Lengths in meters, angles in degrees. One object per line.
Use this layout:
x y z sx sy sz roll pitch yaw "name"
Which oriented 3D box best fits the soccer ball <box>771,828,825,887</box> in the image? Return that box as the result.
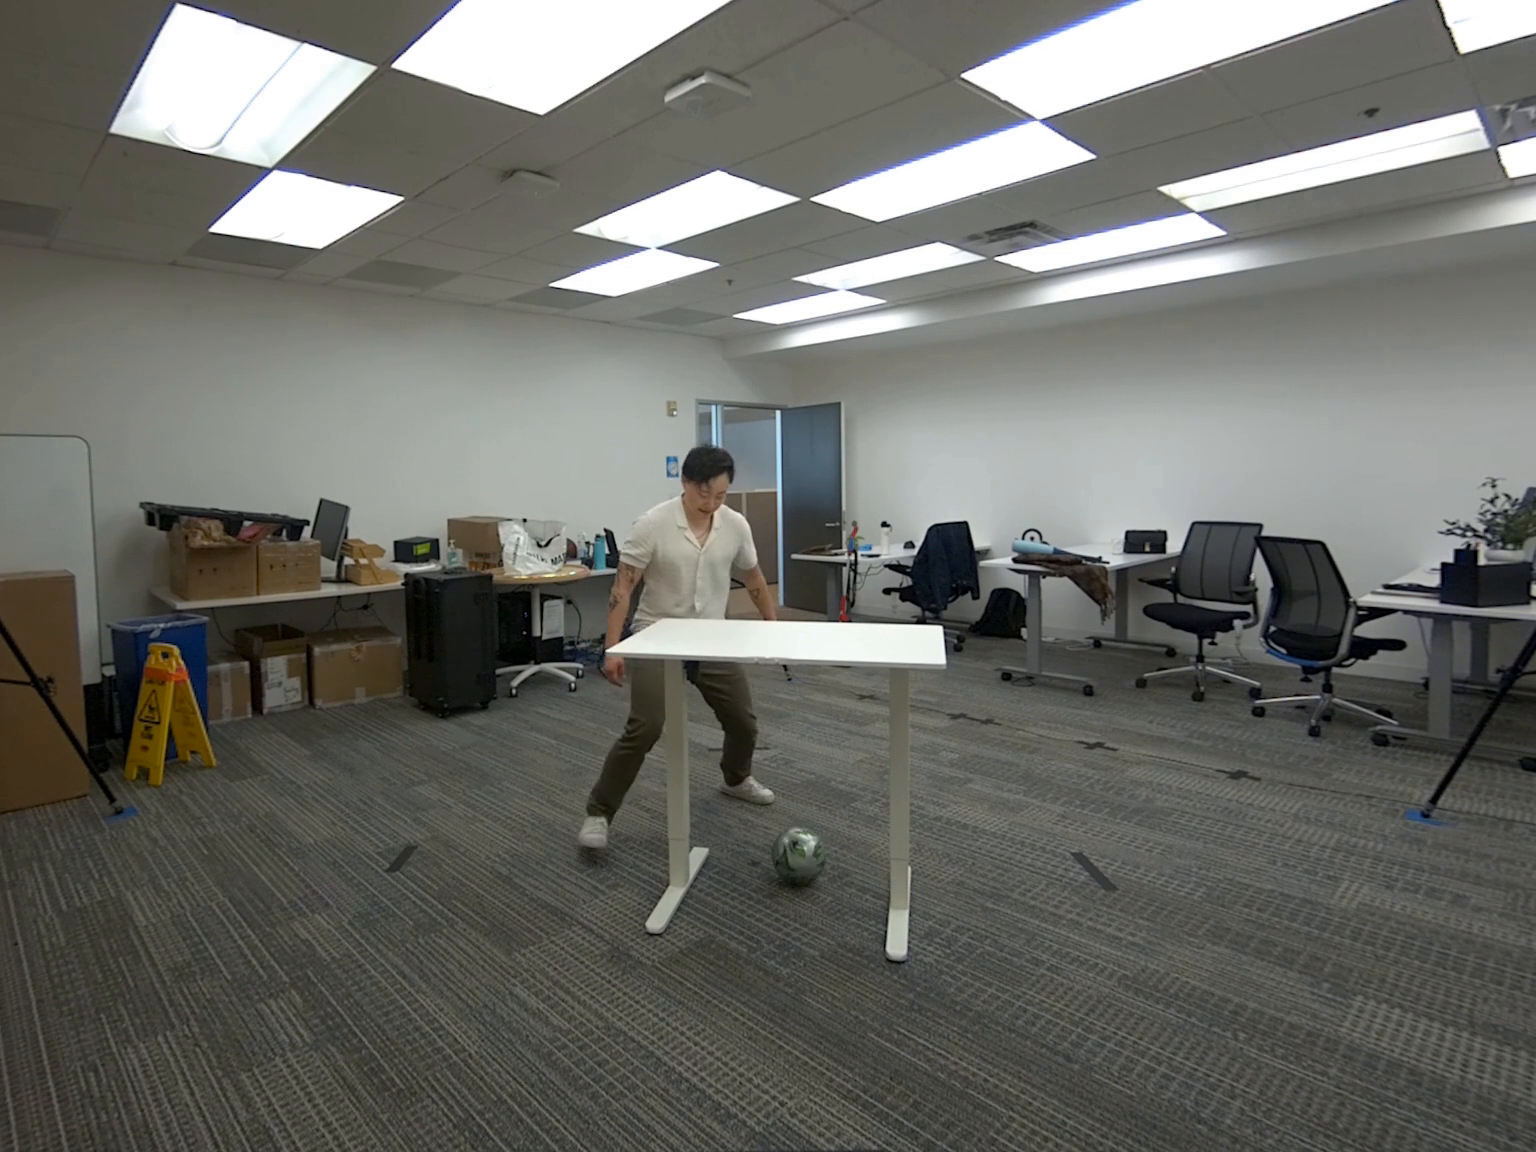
0.108 0.960 2.954 0.187 0.187 0.188 -1 5 -2 "soccer ball"
